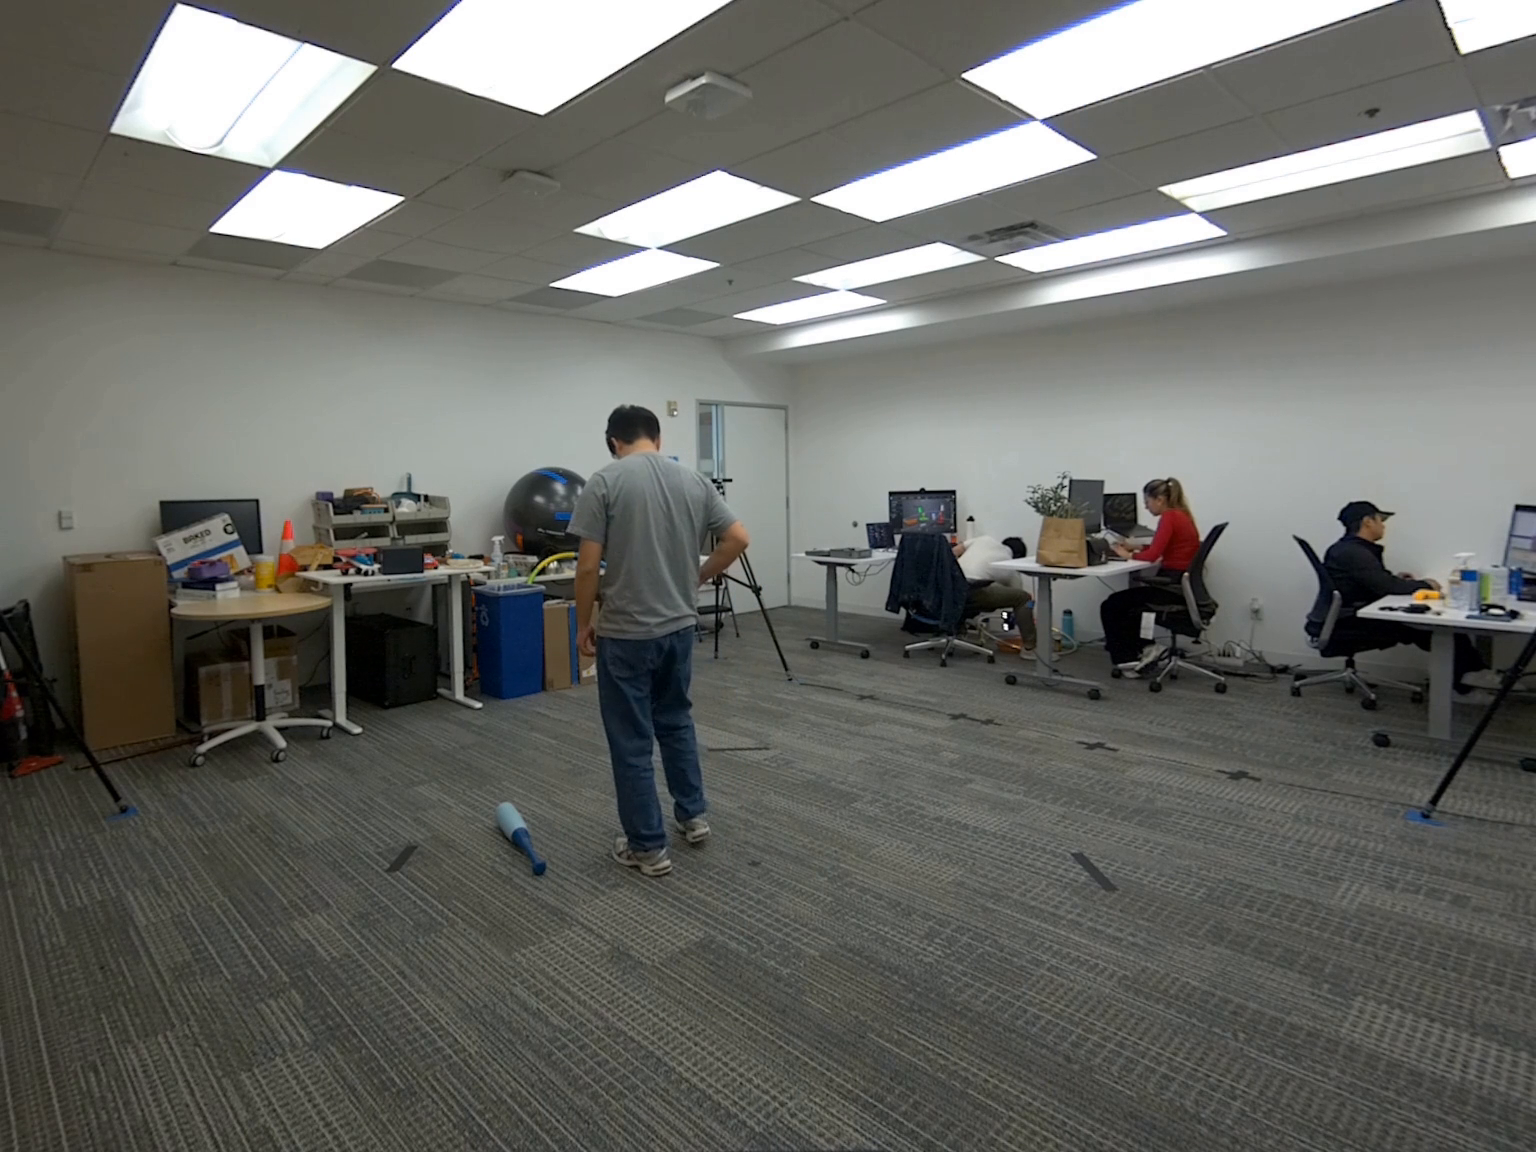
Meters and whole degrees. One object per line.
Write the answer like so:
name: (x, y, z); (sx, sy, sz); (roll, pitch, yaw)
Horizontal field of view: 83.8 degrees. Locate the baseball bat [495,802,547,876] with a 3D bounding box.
baseball bat: (-0.942, 1.009, 3.283); (0.087, 0.088, 0.559); (-3, 10, -29)
